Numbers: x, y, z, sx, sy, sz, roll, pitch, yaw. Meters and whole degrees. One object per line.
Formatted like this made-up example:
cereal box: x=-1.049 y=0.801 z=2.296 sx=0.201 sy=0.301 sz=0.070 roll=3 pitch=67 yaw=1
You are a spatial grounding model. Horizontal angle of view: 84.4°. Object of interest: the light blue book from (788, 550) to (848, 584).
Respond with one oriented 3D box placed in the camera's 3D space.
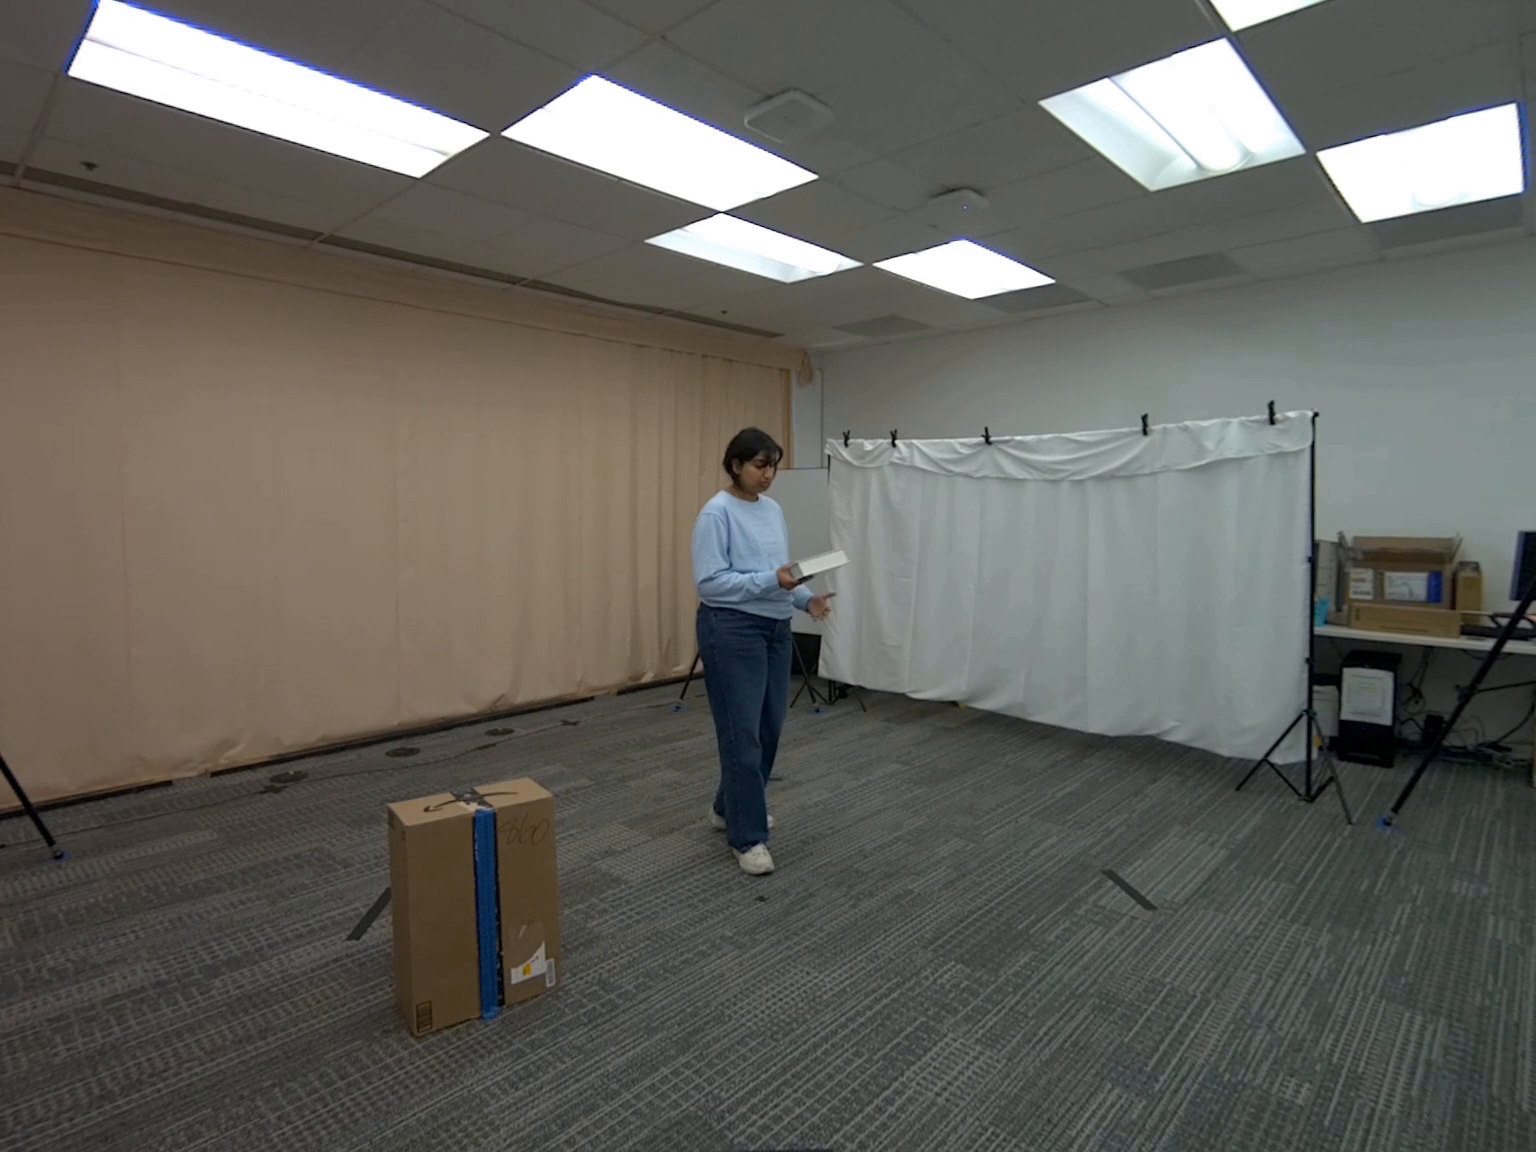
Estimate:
light blue book: x=0.160 y=-0.029 z=3.129 sx=0.189 sy=0.059 sz=0.263 roll=-16 pitch=-5 yaw=-17
